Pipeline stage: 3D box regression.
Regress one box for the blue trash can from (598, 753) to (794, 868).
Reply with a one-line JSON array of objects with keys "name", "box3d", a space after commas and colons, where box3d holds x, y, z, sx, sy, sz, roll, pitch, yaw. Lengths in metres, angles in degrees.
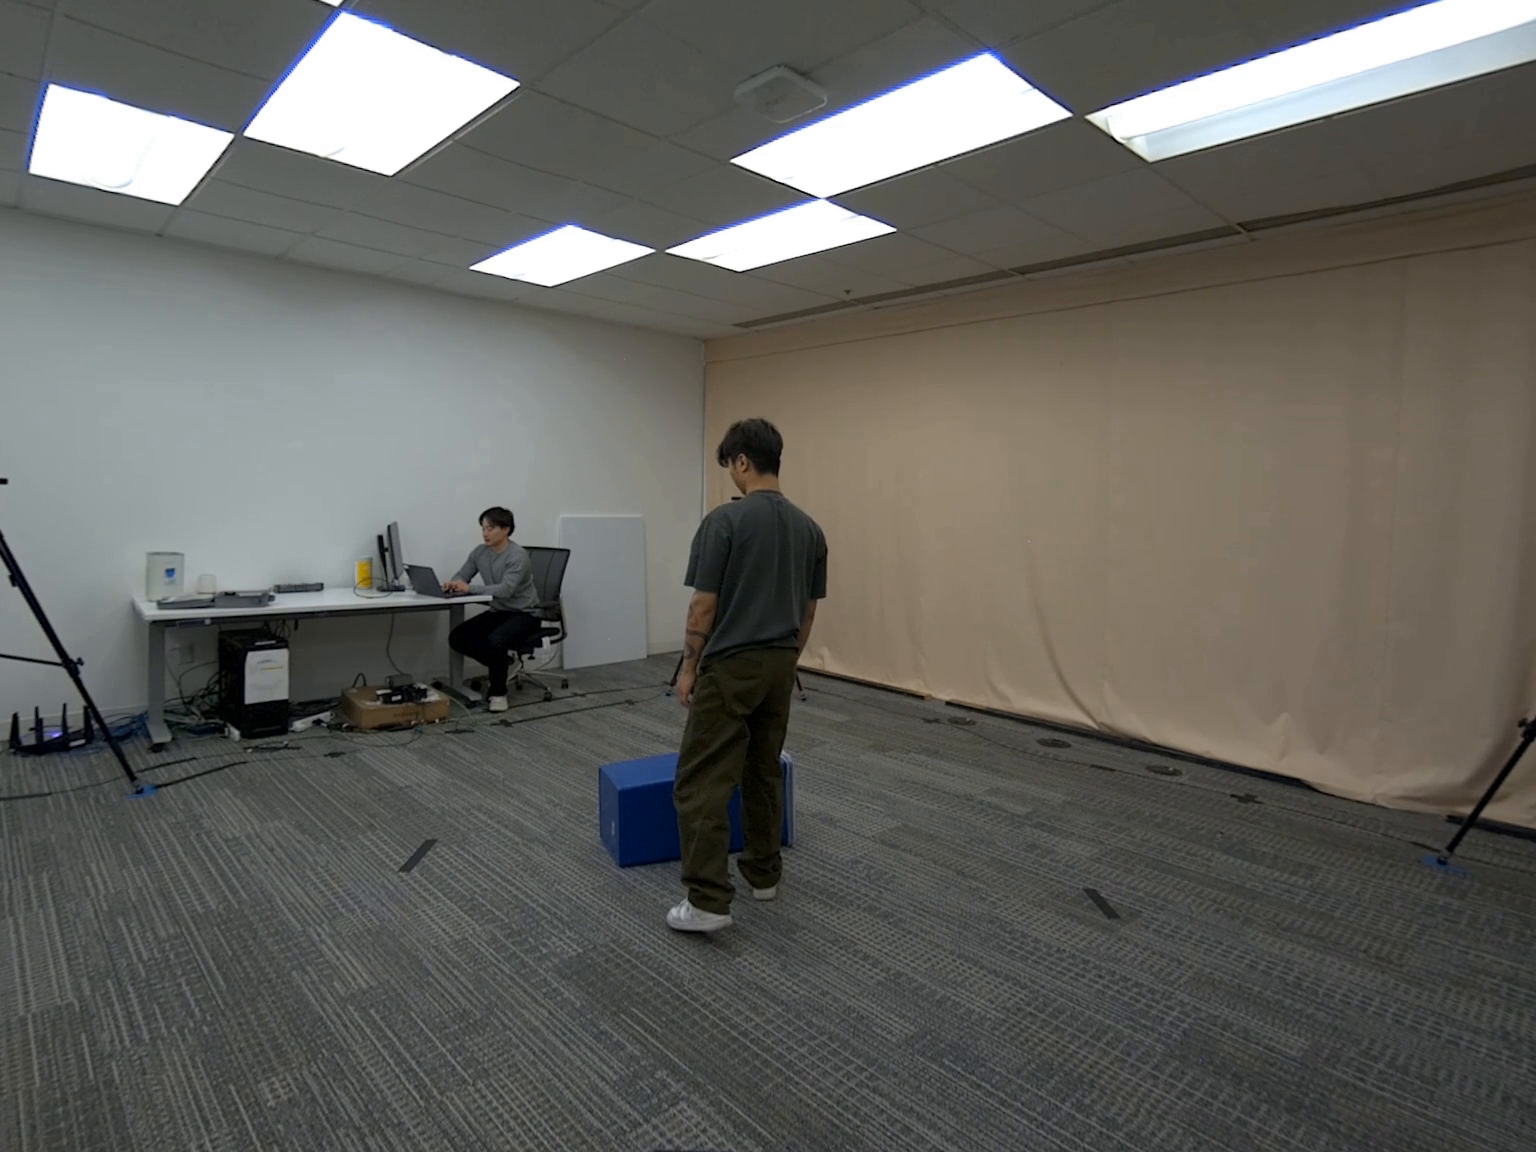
[{"name": "blue trash can", "box3d": [-0.303, 0.914, 3.398, 0.702, 0.373, 0.385, -3, 6, -22]}]
